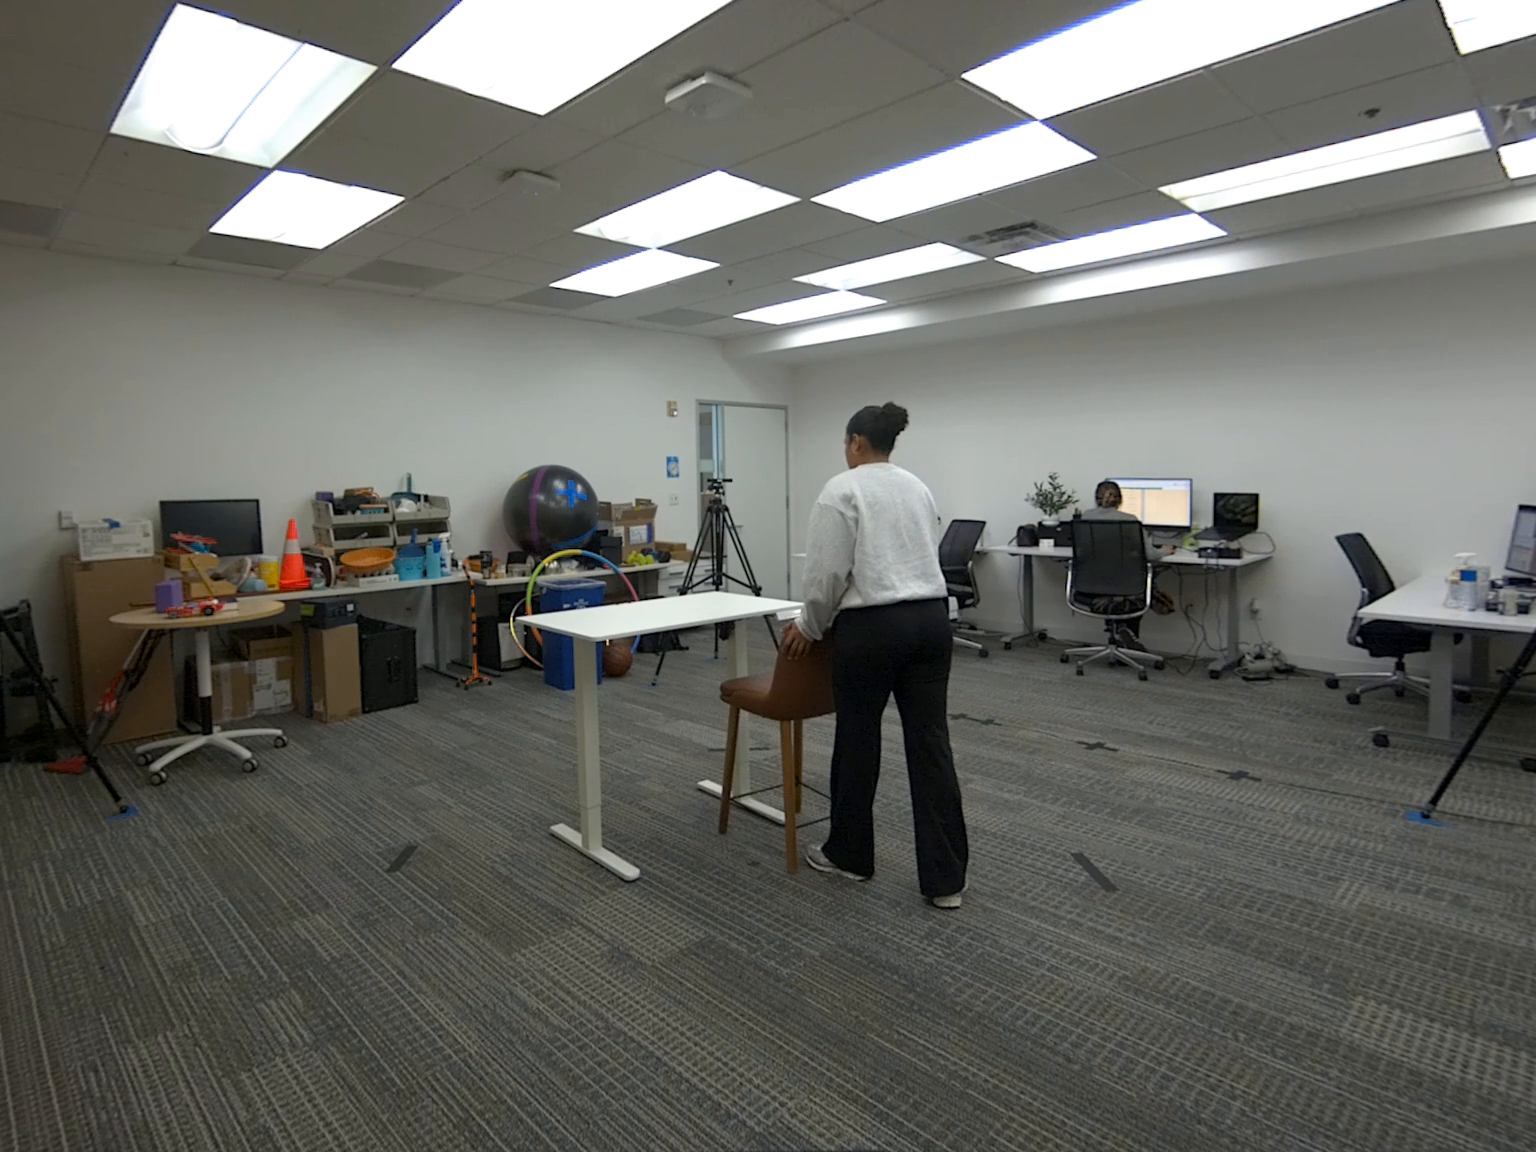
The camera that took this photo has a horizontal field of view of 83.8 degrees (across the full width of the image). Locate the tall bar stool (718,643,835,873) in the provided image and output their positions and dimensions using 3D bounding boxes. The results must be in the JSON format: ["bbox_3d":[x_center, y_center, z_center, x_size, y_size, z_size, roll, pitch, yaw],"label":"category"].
[{"bbox_3d":[0.100,0.584,3.271,0.445,0.886,0.482,-3,6,-35],"label":"tall bar stool"}]
